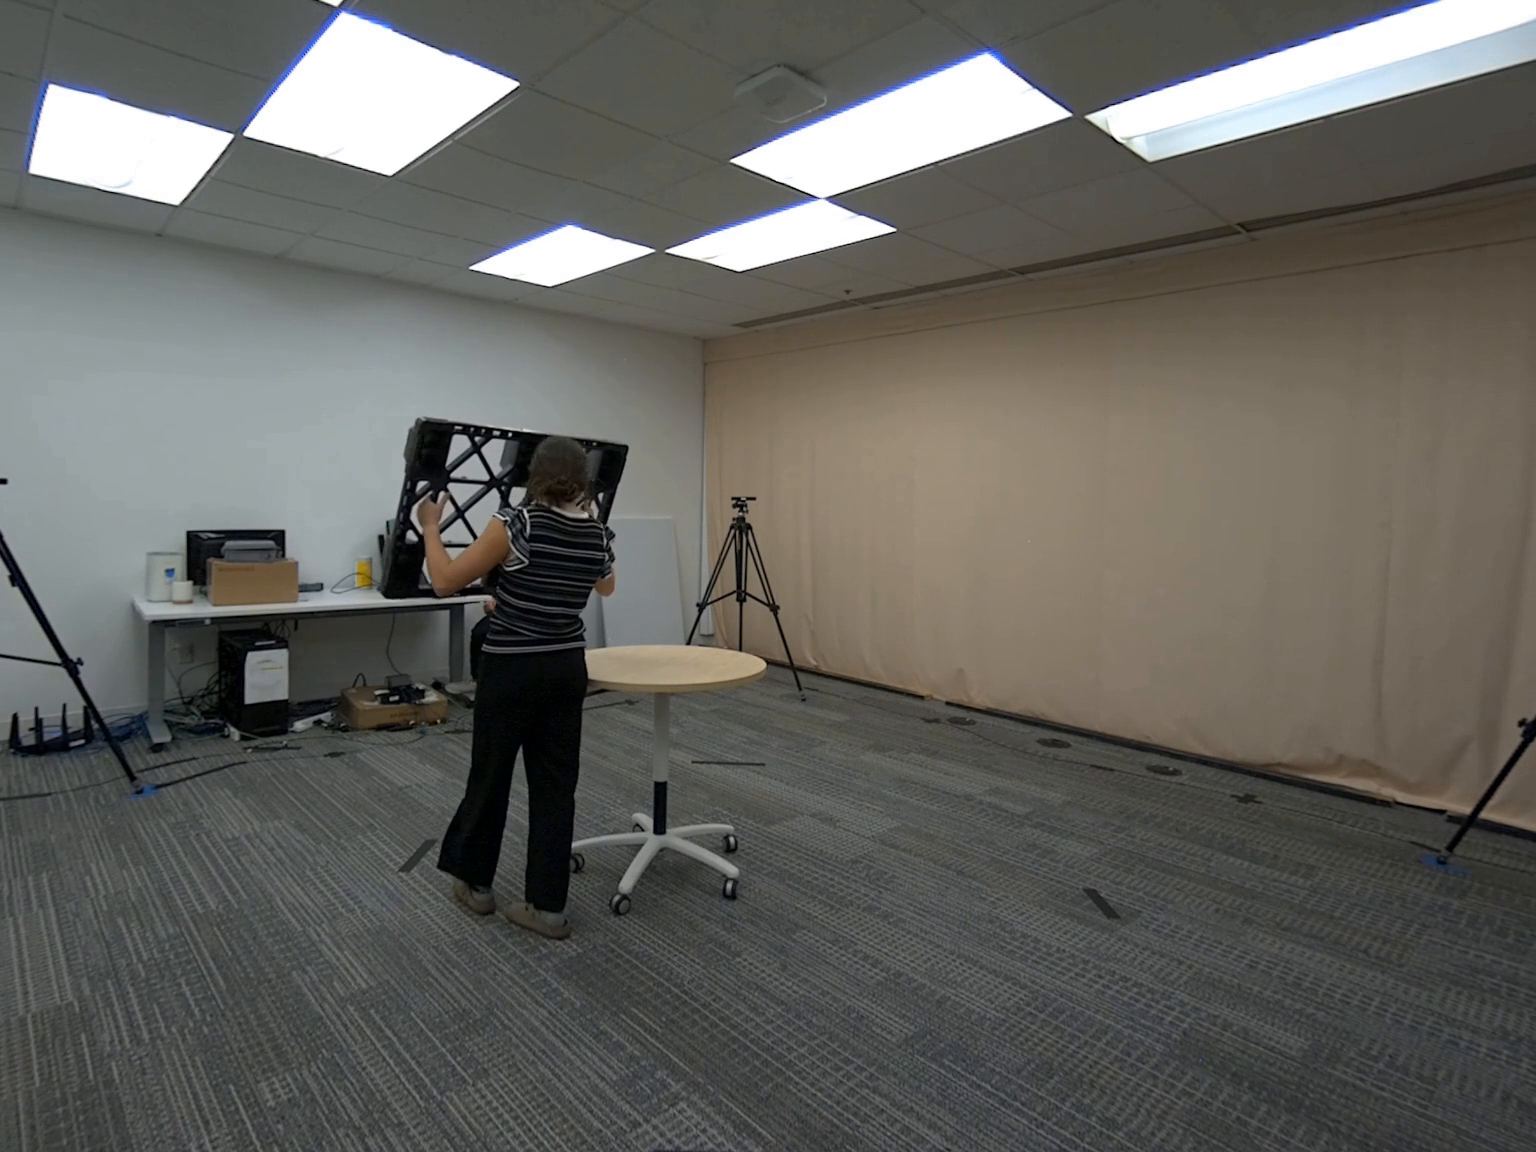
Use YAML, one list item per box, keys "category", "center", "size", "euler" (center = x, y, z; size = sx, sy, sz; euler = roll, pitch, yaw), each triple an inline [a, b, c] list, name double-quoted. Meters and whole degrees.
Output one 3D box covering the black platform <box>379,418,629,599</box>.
- category: "black platform"
  center: [-0.909, -0.230, 2.890]
  size: [0.148, 0.601, 0.786]
  euler: [31, 20, 37]
